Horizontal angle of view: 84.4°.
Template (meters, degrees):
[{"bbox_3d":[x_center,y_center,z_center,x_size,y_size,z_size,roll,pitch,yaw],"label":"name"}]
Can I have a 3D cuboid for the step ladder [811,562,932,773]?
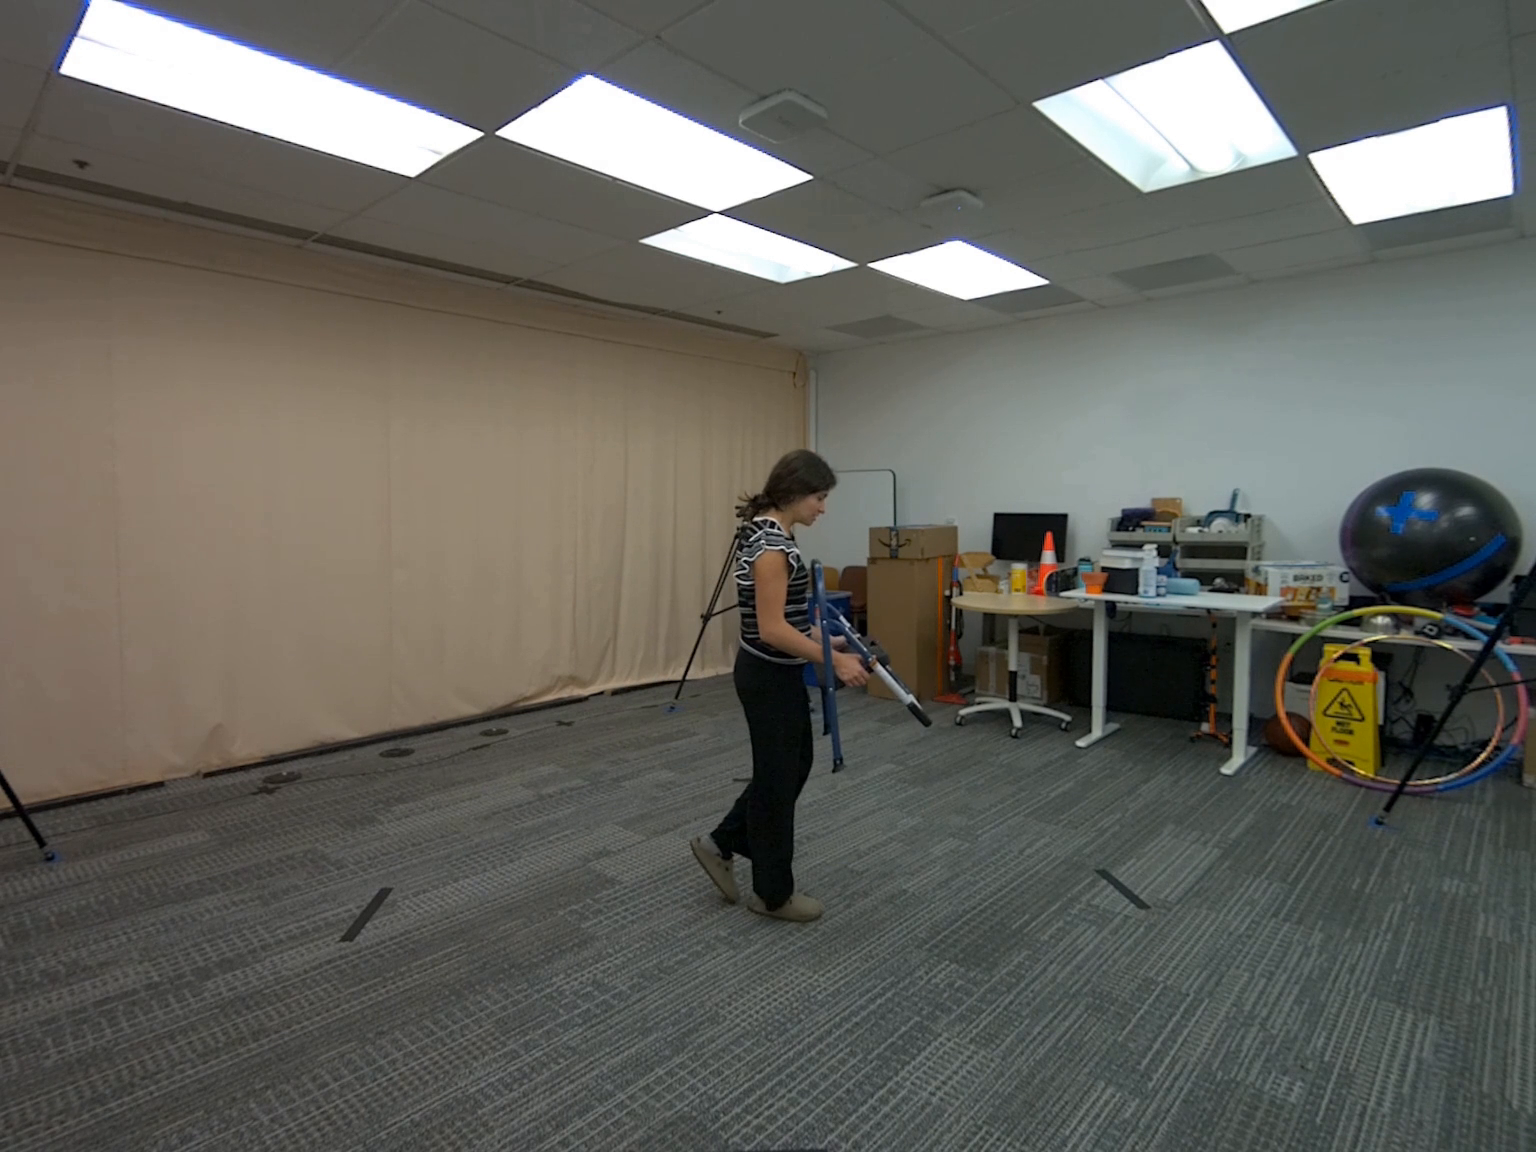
[{"bbox_3d":[0.227,0.257,2.831,0.350,0.605,0.431,-27,2,2],"label":"step ladder"}]
